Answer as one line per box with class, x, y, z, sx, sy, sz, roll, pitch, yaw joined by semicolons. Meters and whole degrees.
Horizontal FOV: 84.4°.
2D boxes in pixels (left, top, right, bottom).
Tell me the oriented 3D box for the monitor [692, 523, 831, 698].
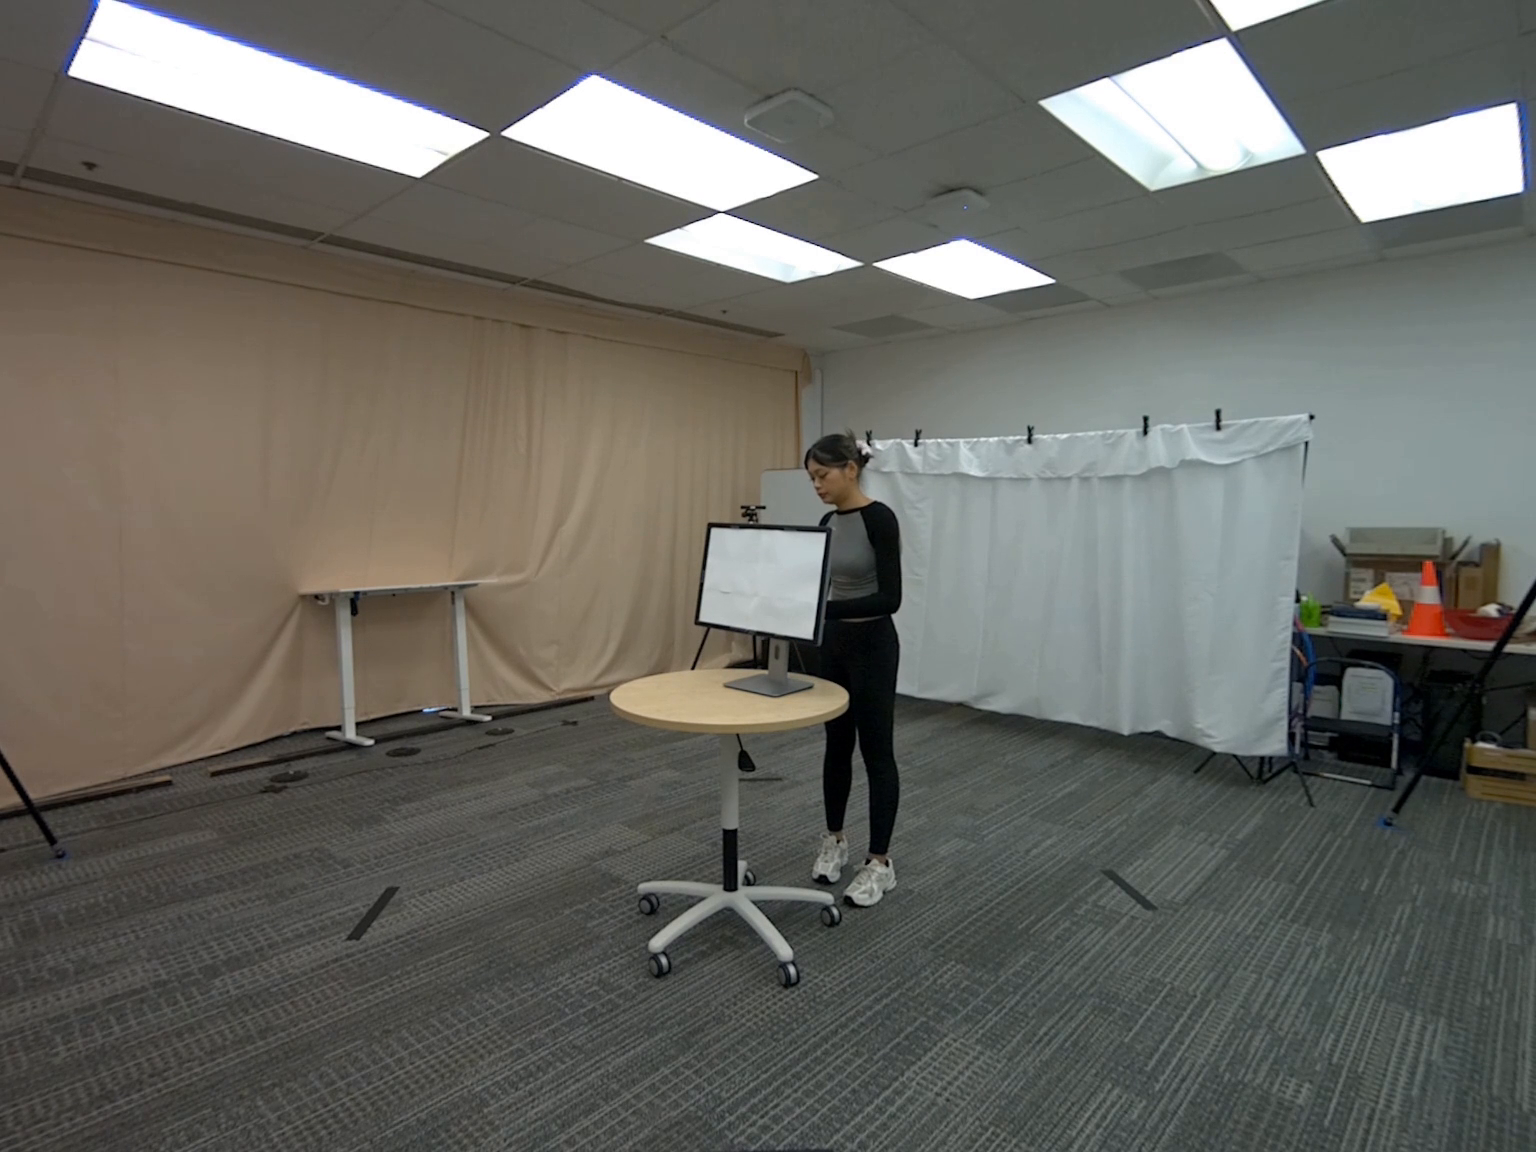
monitor;0.006;0.105;2.784;0.557;0.521;0.181;4;7;43
